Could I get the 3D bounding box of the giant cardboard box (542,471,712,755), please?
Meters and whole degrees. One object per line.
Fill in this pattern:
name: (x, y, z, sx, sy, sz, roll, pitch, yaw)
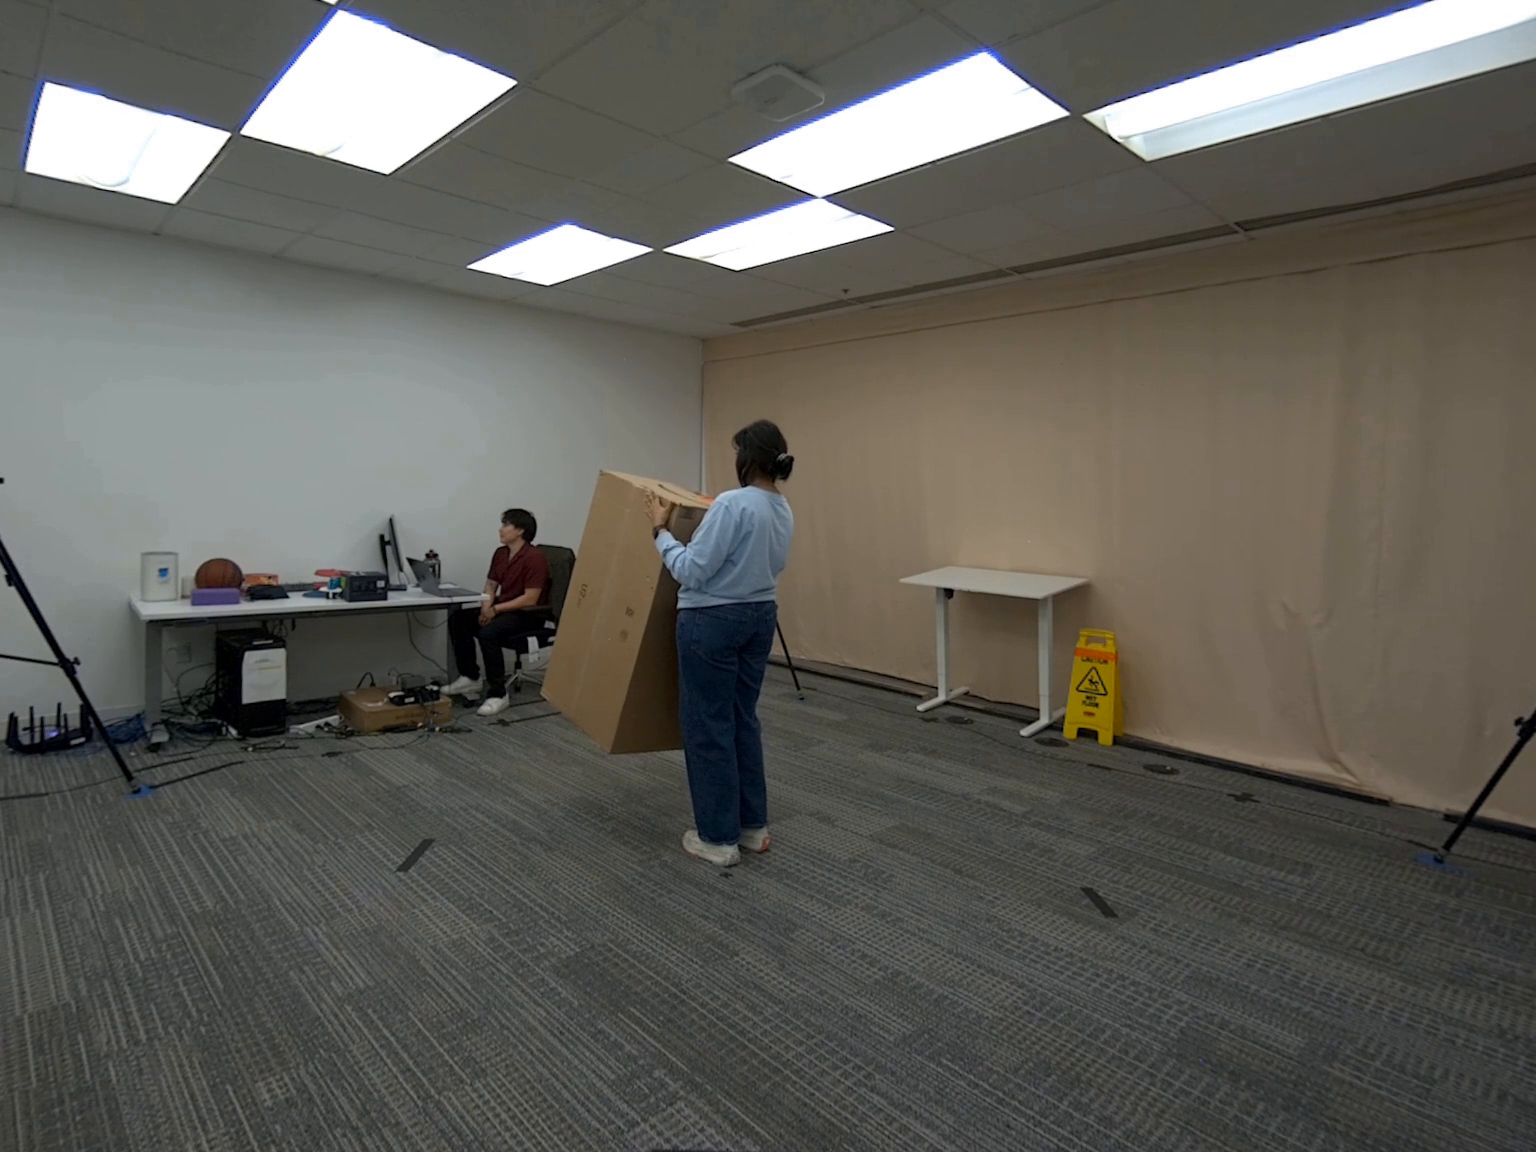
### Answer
giant cardboard box: (-0.523, 0.141, 3.556, 0.435, 1.023, 0.602, 10, 10, -42)
